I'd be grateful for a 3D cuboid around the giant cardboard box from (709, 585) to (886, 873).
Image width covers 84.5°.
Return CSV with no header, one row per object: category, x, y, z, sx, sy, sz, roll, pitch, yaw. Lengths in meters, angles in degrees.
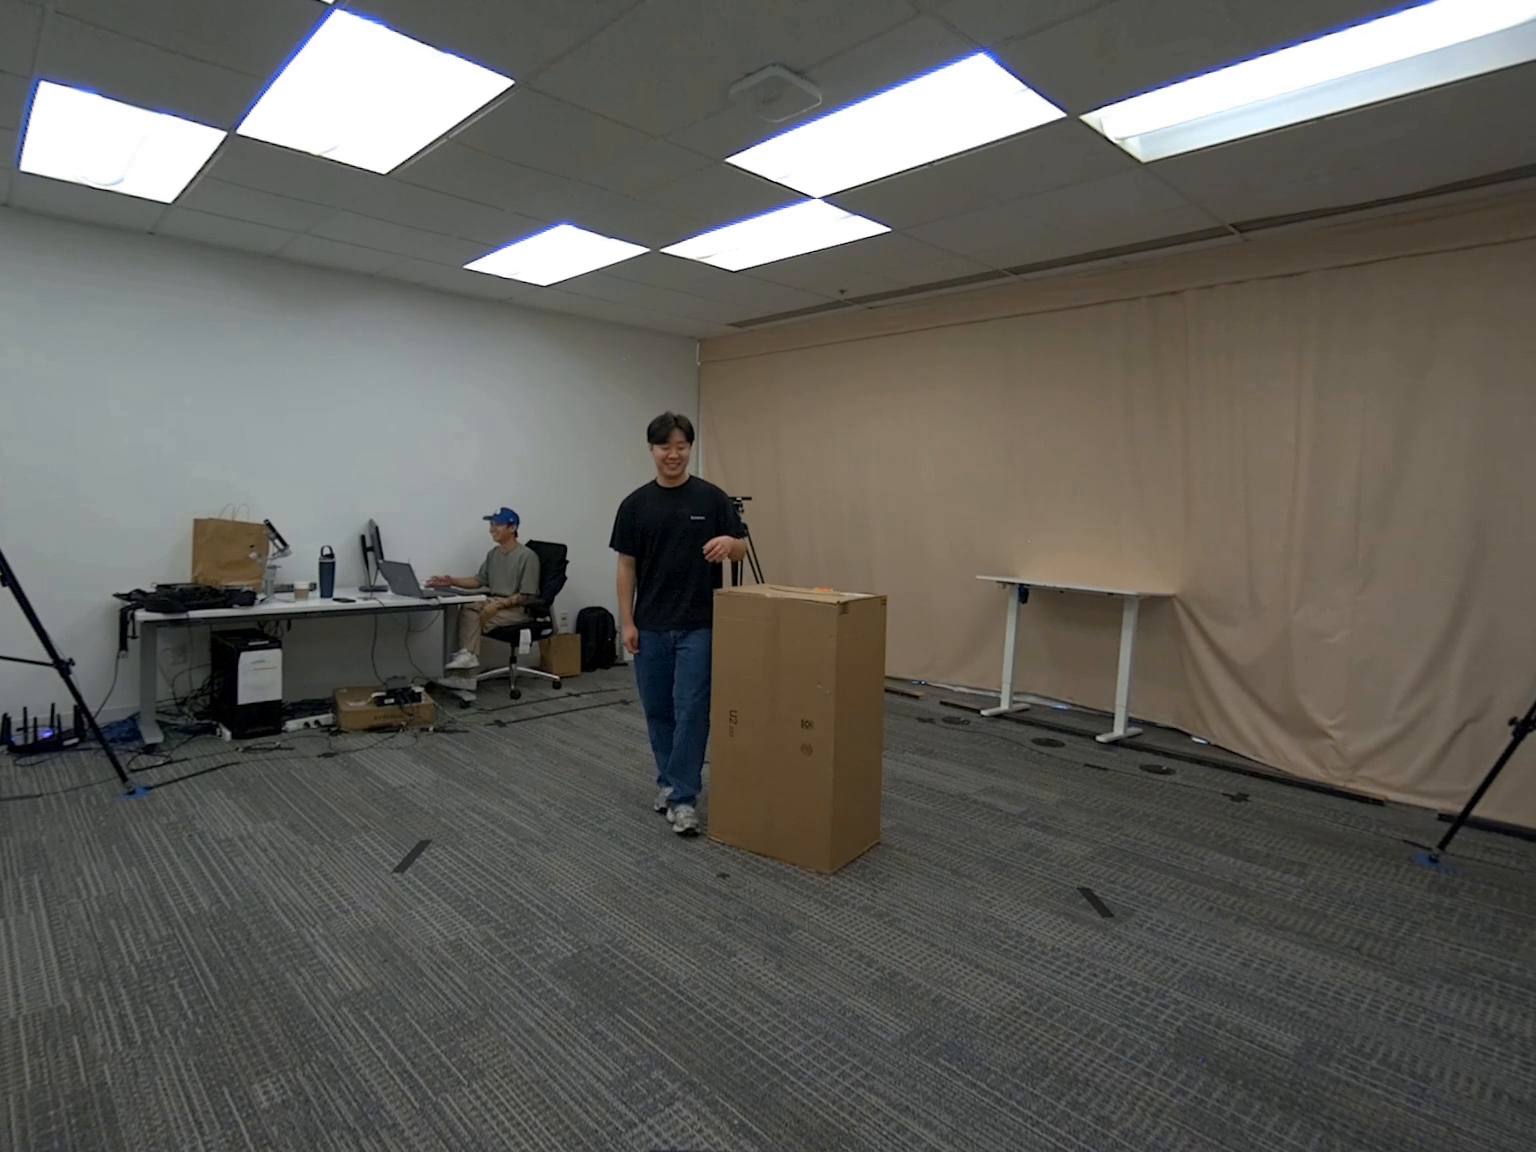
giant cardboard box,0.120,0.573,3.430,0.598,1.025,0.437,4,3,36
